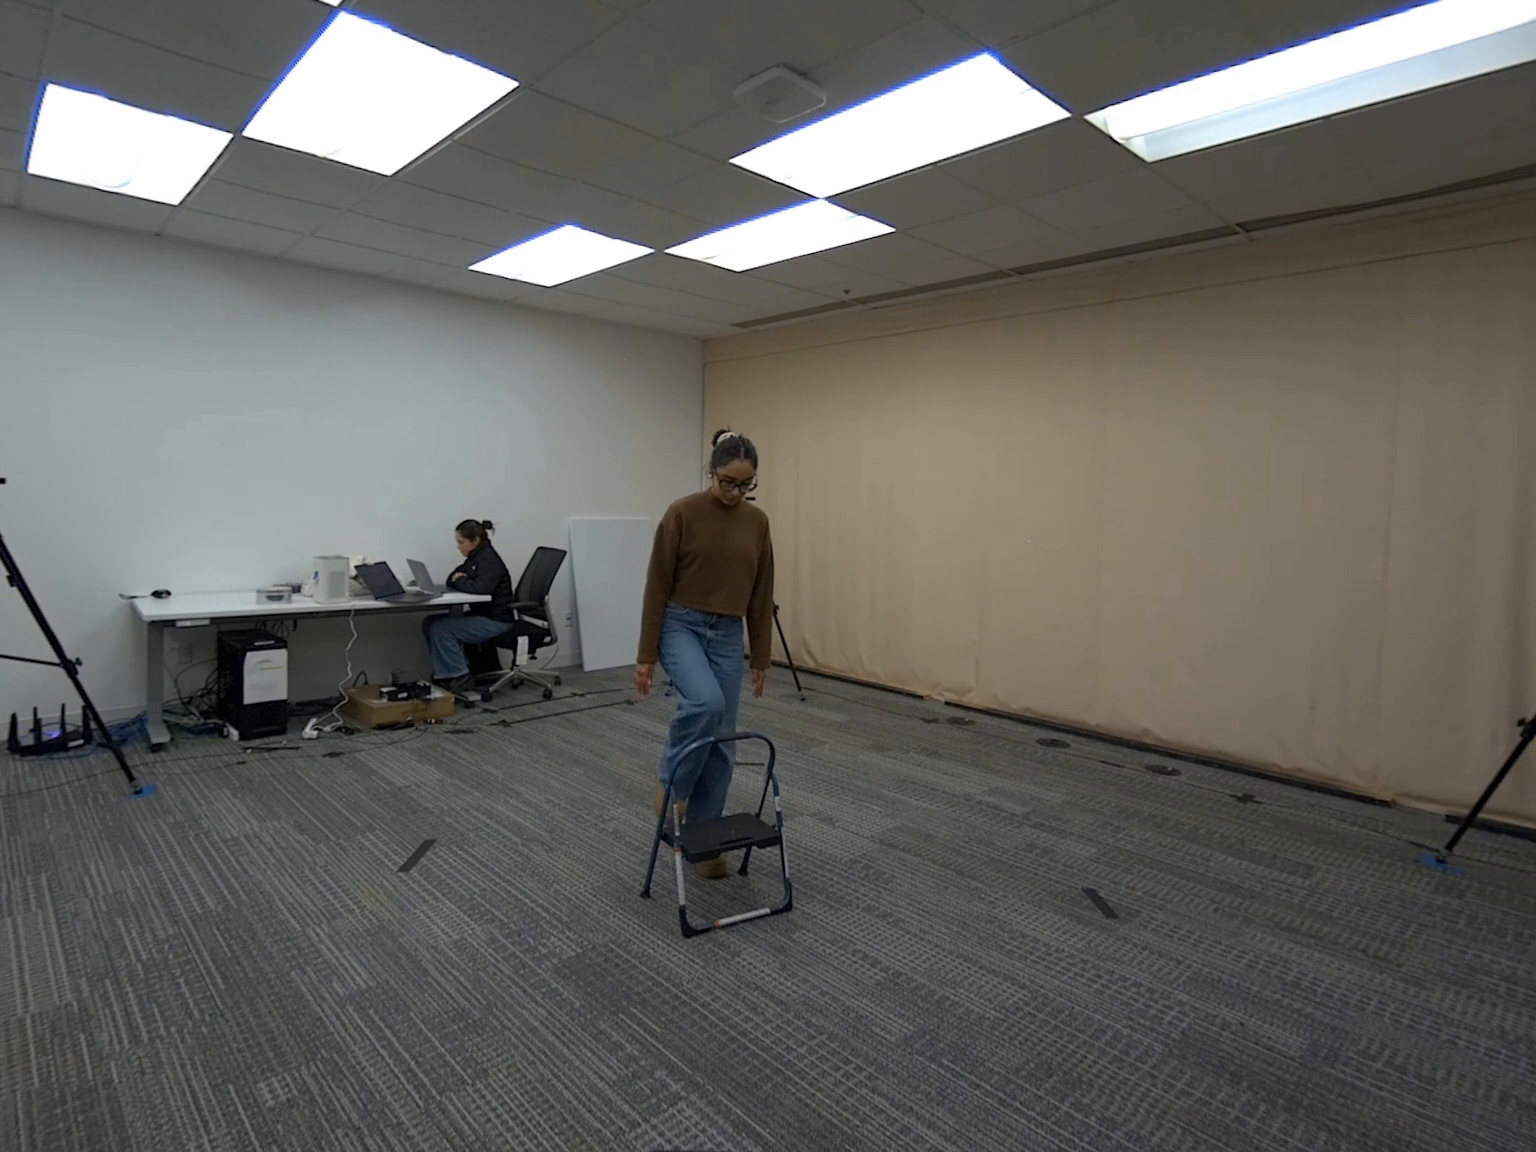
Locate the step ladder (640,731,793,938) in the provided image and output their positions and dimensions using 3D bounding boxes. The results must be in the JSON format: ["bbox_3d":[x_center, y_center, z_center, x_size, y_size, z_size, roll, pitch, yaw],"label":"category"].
[{"bbox_3d":[-0.176,0.822,2.880,0.422,0.604,0.357,-1,4,-32],"label":"step ladder"}]
